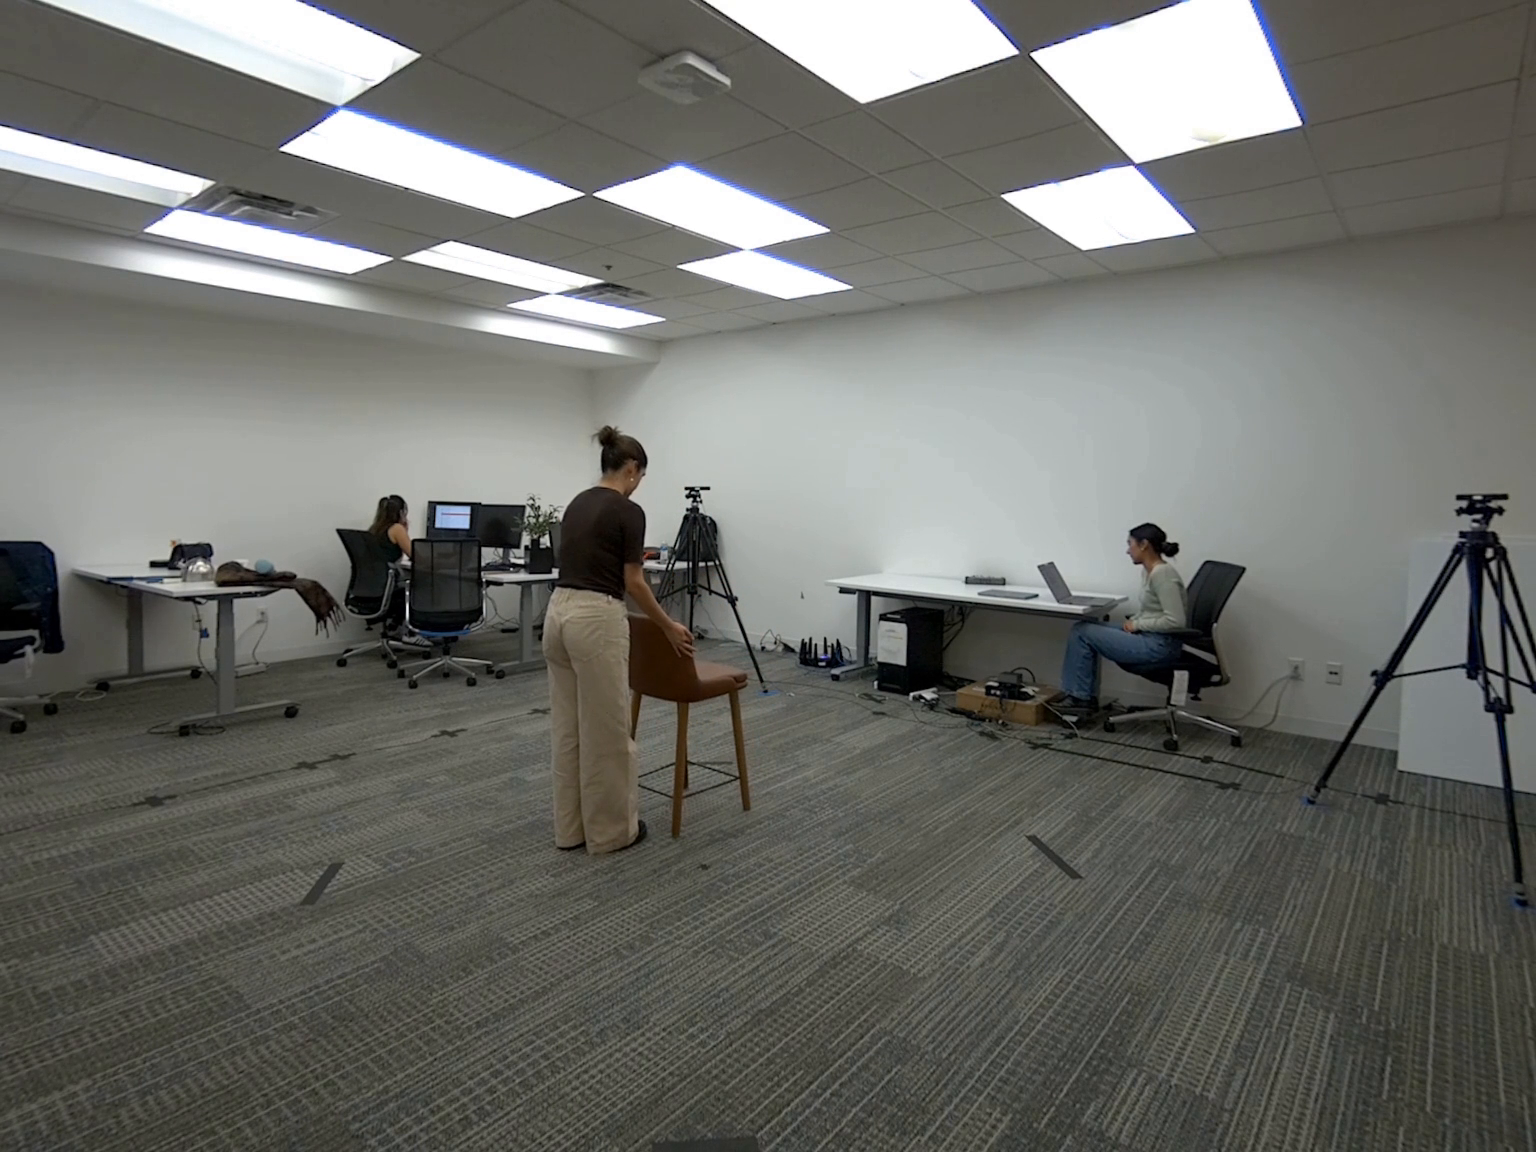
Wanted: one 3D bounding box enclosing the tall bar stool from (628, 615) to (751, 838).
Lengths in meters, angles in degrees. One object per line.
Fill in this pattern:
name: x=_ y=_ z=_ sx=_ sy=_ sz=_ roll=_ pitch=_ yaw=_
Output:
tall bar stool: x=-0.380 y=0.569 z=3.631 sx=0.472 sy=0.886 sz=0.454 roll=3 pitch=6 yaw=41
